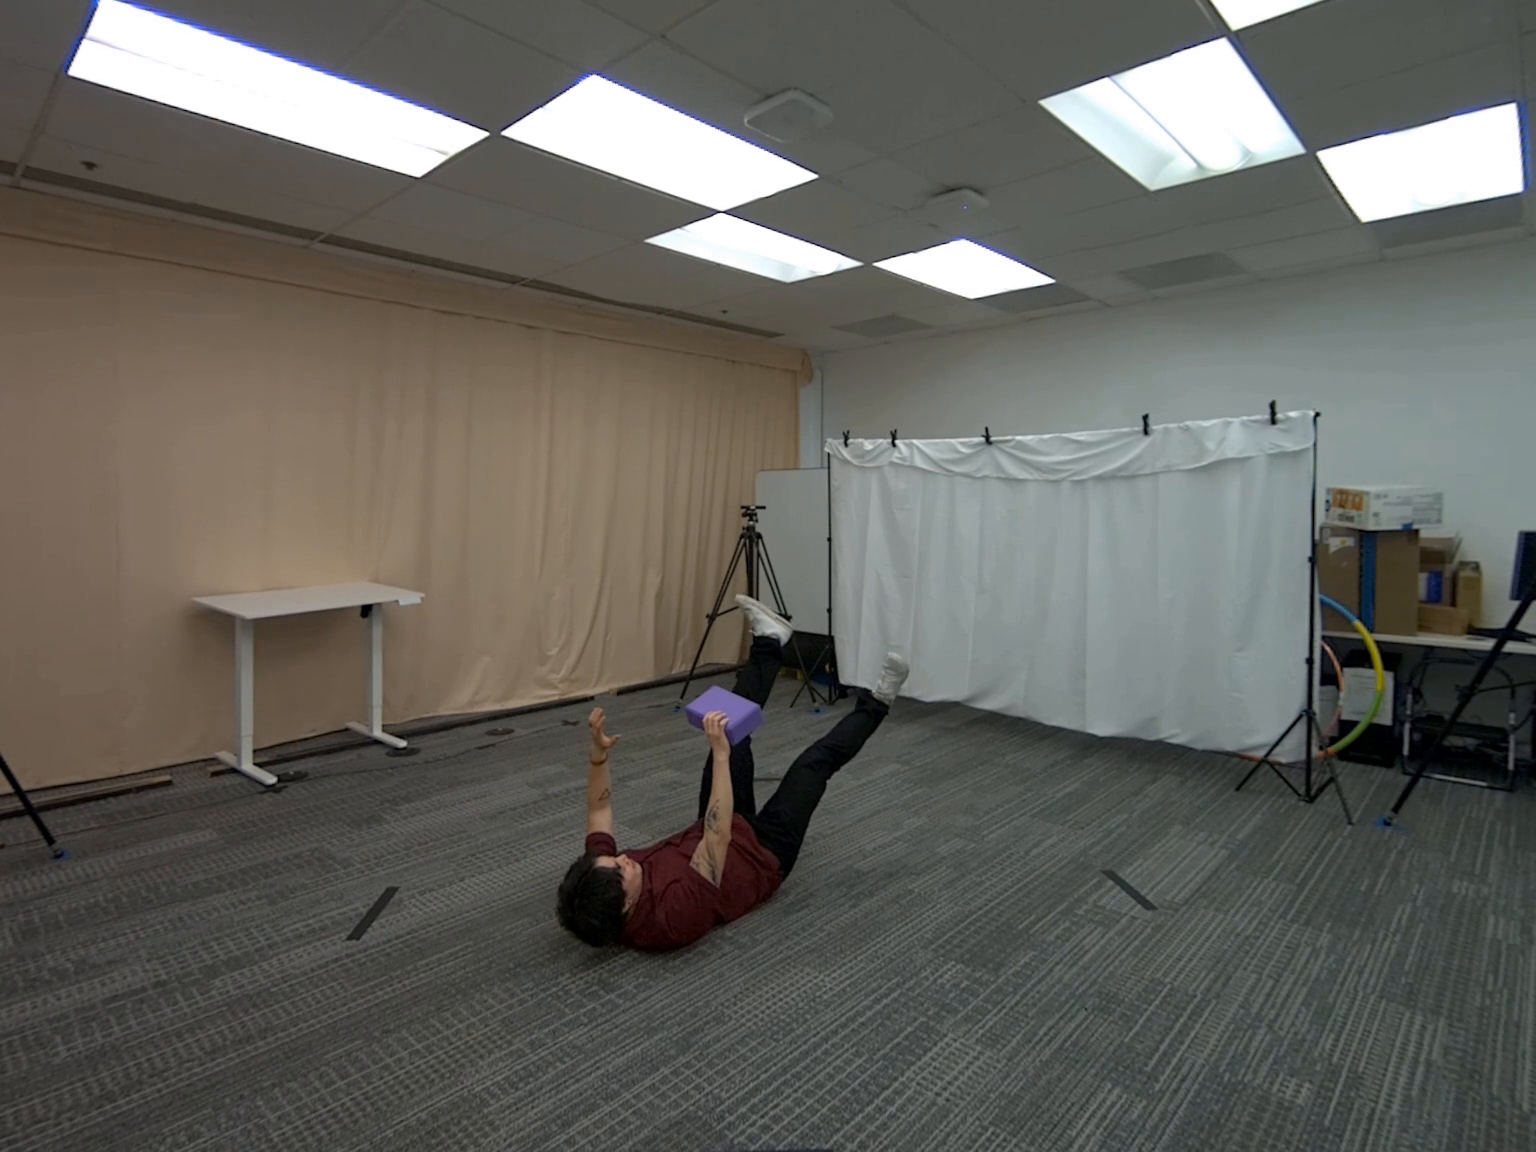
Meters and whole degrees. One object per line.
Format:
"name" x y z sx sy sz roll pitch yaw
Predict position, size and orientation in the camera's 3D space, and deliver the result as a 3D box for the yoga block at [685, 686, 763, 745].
"yoga block" -0.142 0.458 2.781 0.147 0.075 0.237 -29 29 -27
